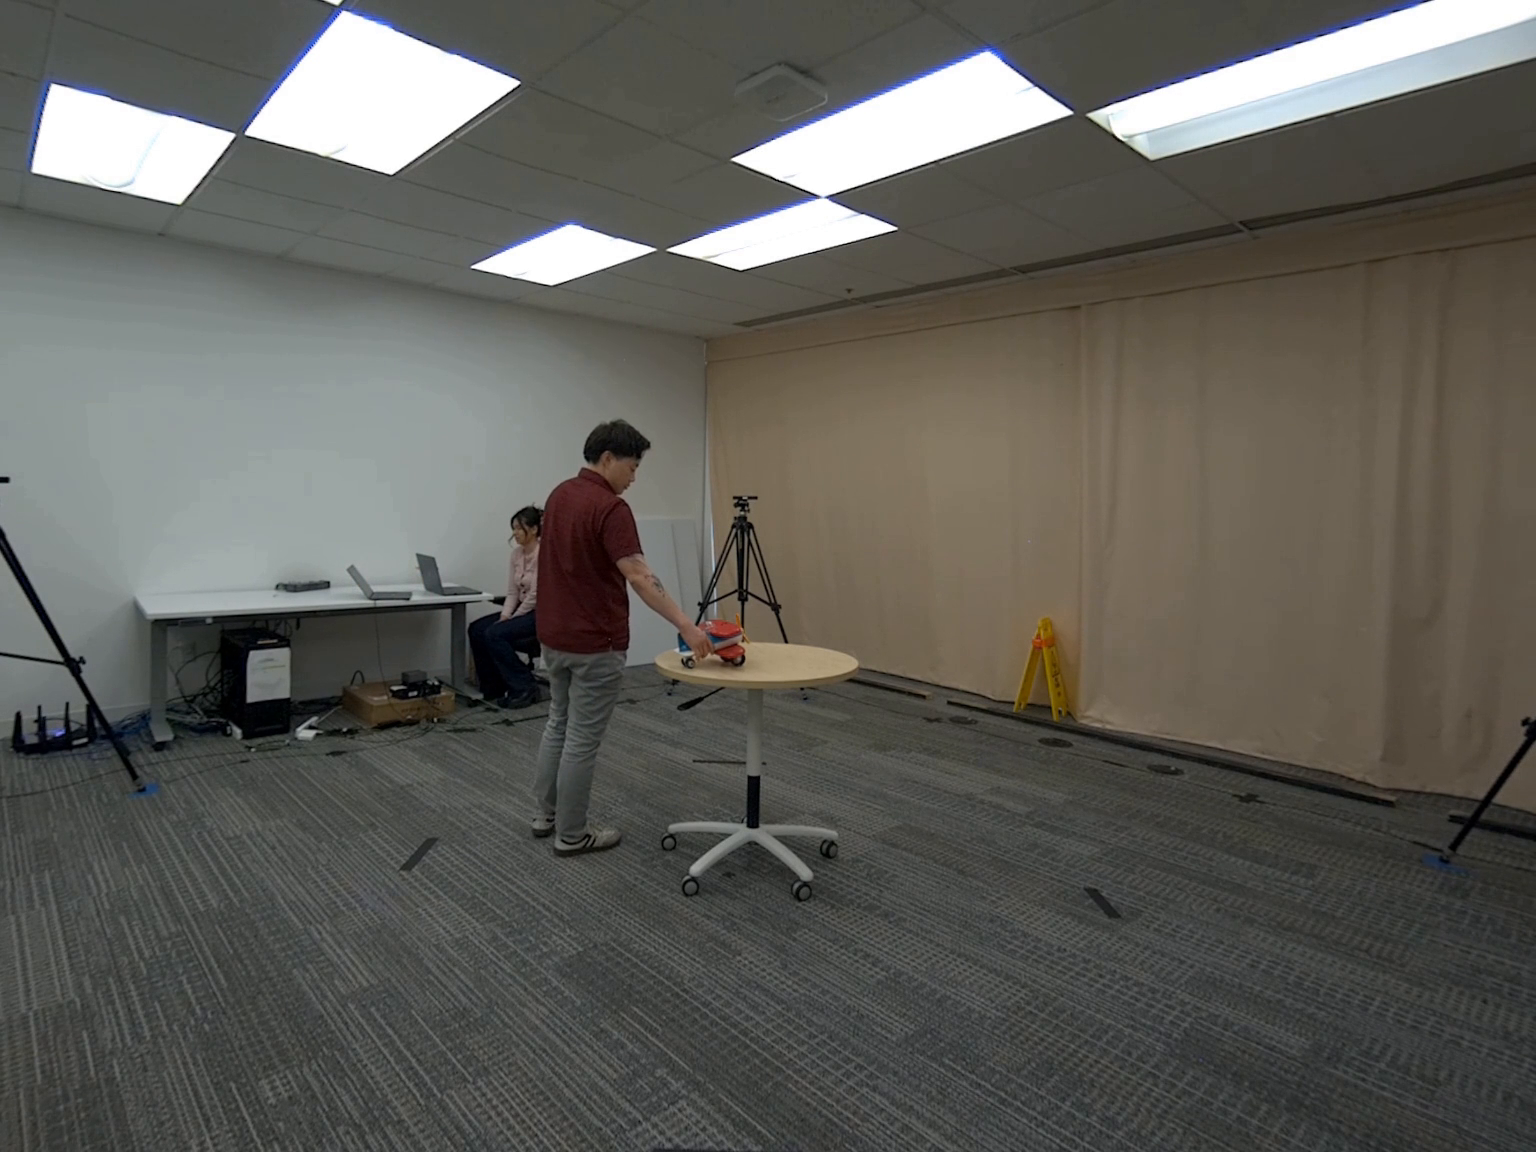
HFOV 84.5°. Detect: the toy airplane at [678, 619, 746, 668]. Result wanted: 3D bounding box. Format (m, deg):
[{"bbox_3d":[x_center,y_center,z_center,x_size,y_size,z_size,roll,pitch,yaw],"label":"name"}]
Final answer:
[{"bbox_3d":[-0.198,0.250,3.029,0.257,0.156,0.253,4,4,35],"label":"toy airplane"}]
